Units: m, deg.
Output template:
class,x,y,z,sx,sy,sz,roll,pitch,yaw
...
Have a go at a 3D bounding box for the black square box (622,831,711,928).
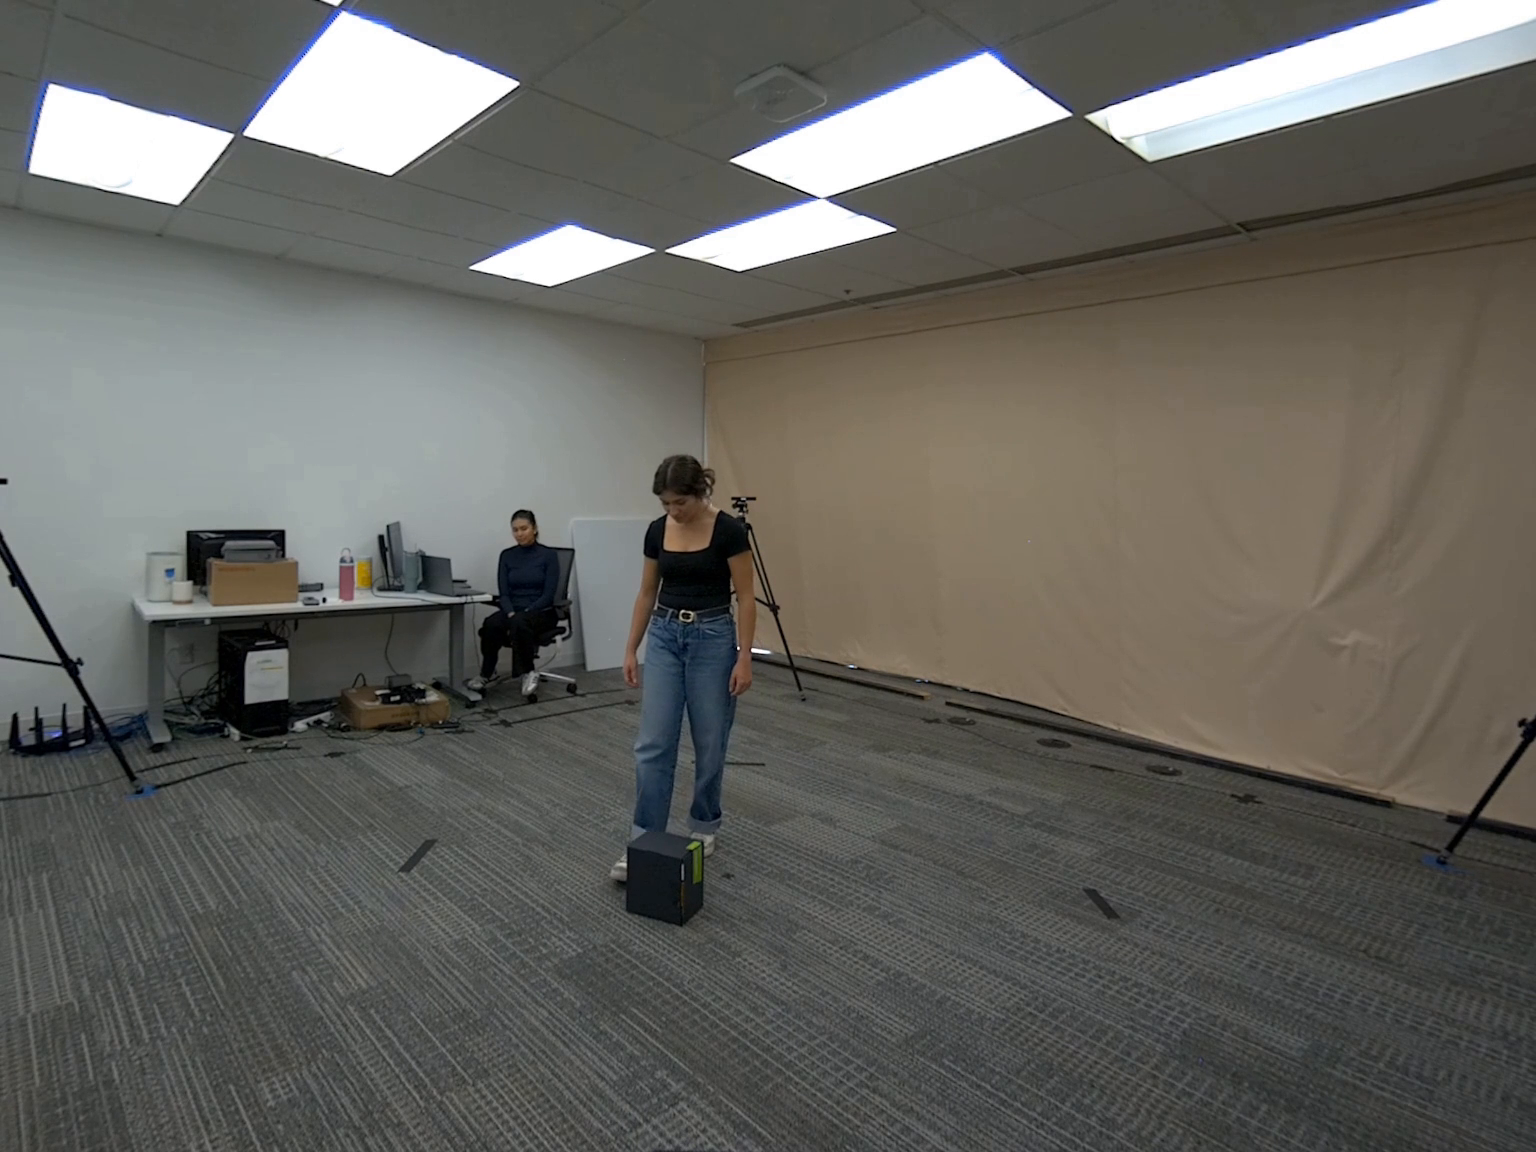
class,x,y,z,sx,sy,sz,roll,pitch,yaw
black square box,-0.354,1.011,2.829,0.221,0.227,0.153,4,5,25
